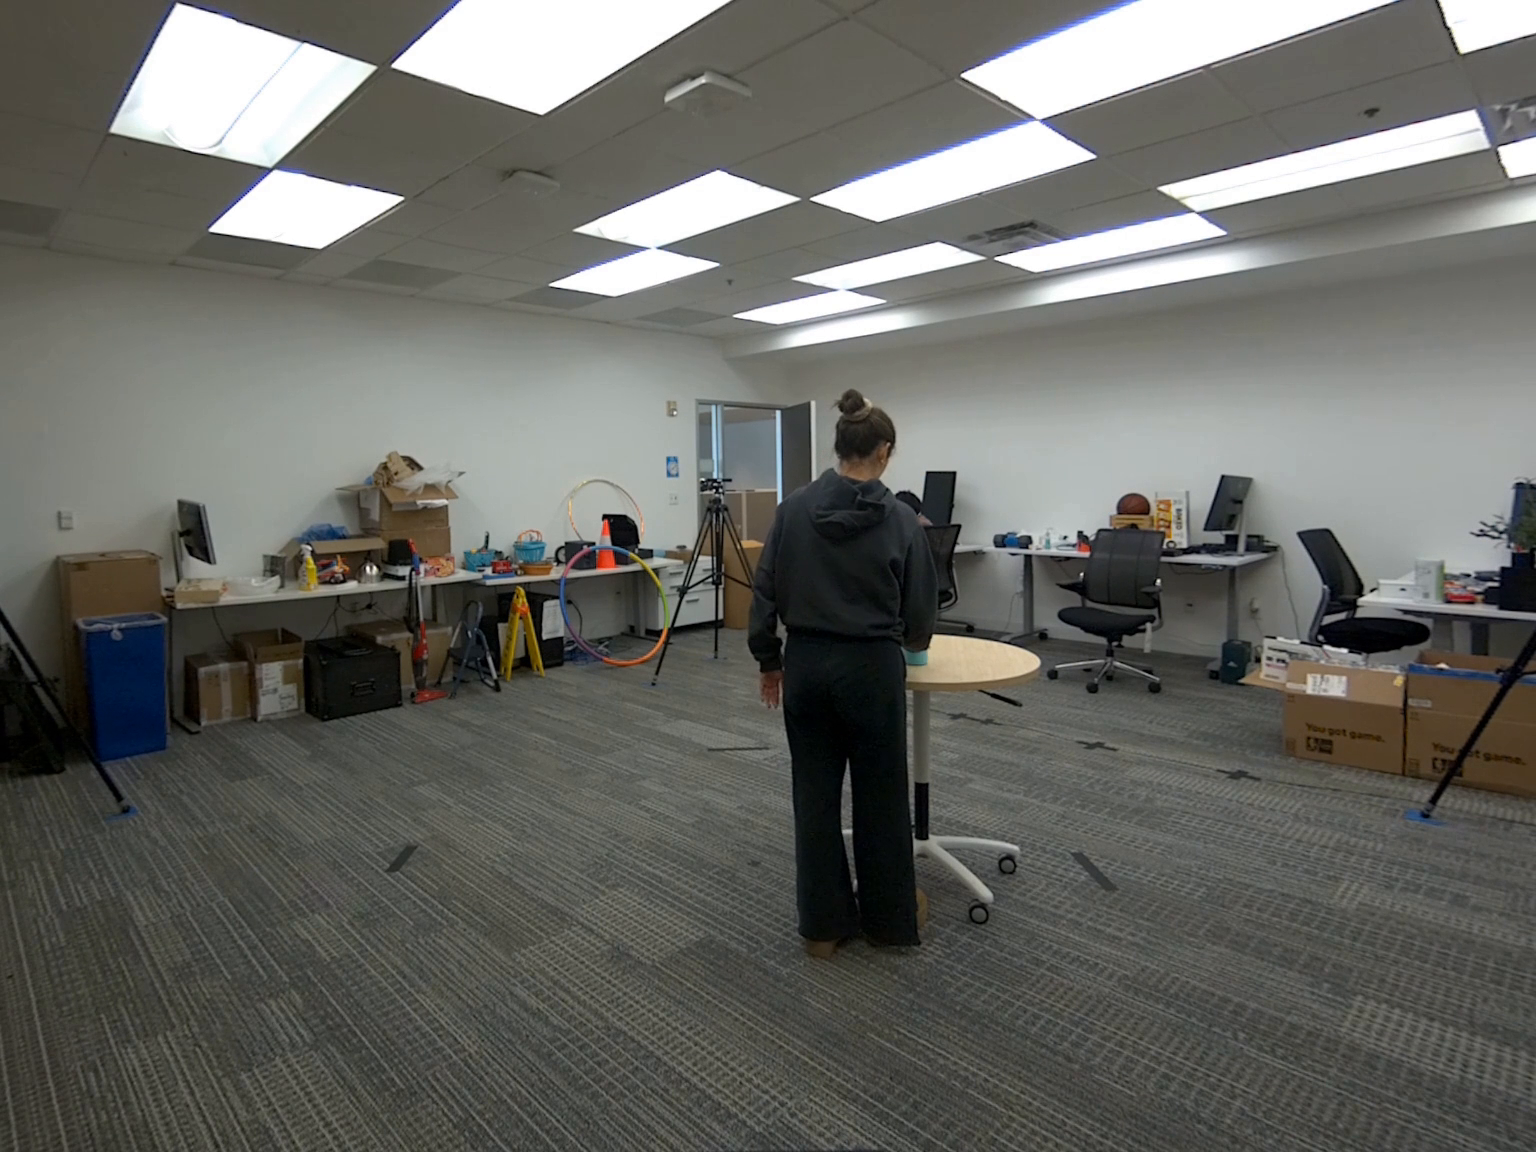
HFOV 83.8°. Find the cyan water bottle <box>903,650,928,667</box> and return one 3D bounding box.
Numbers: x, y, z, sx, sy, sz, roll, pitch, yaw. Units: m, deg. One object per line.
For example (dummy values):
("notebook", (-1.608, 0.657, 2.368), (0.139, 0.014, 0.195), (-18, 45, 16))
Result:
("cyan water bottle", (0.491, 0.143, 2.794), (0.092, 0.282, 0.093), (0, 3, -2))
